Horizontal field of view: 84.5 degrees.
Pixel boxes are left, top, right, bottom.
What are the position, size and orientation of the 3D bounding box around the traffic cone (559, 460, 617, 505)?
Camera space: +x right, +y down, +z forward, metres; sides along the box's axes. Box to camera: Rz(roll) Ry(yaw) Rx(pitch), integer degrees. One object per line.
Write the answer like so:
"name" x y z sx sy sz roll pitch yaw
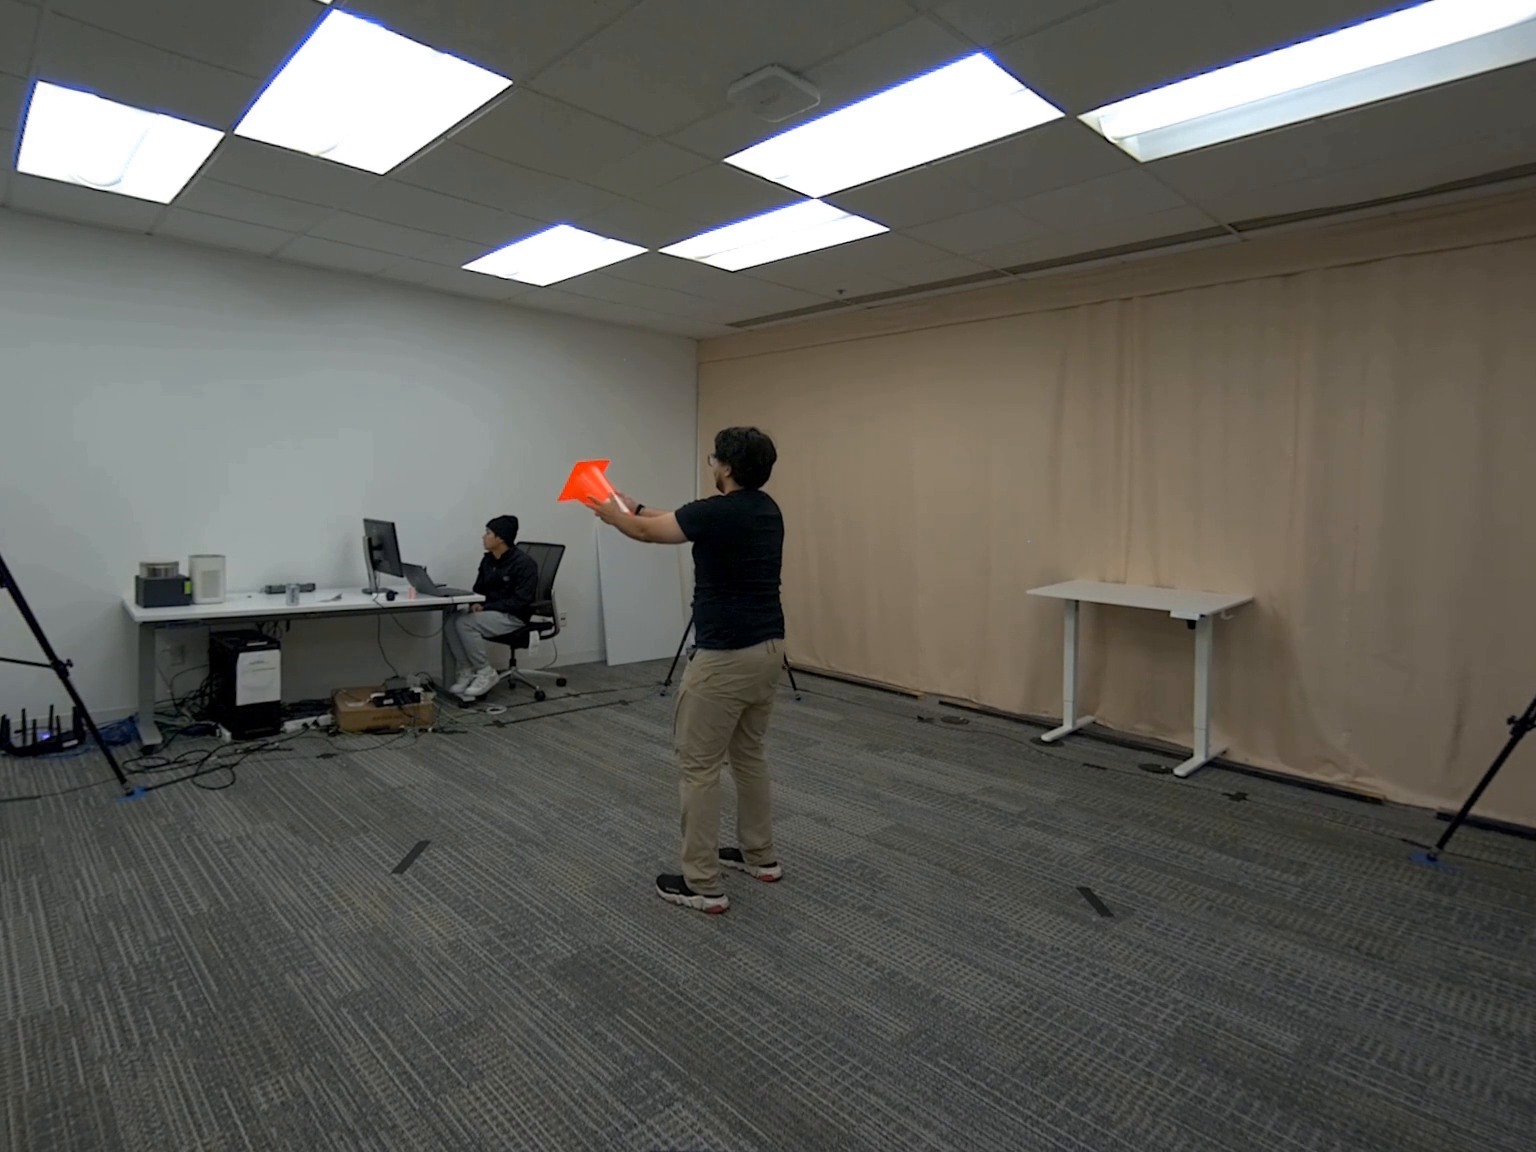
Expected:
"traffic cone" -0.624 -0.265 3.318 0.392 0.202 0.202 42 27 19
